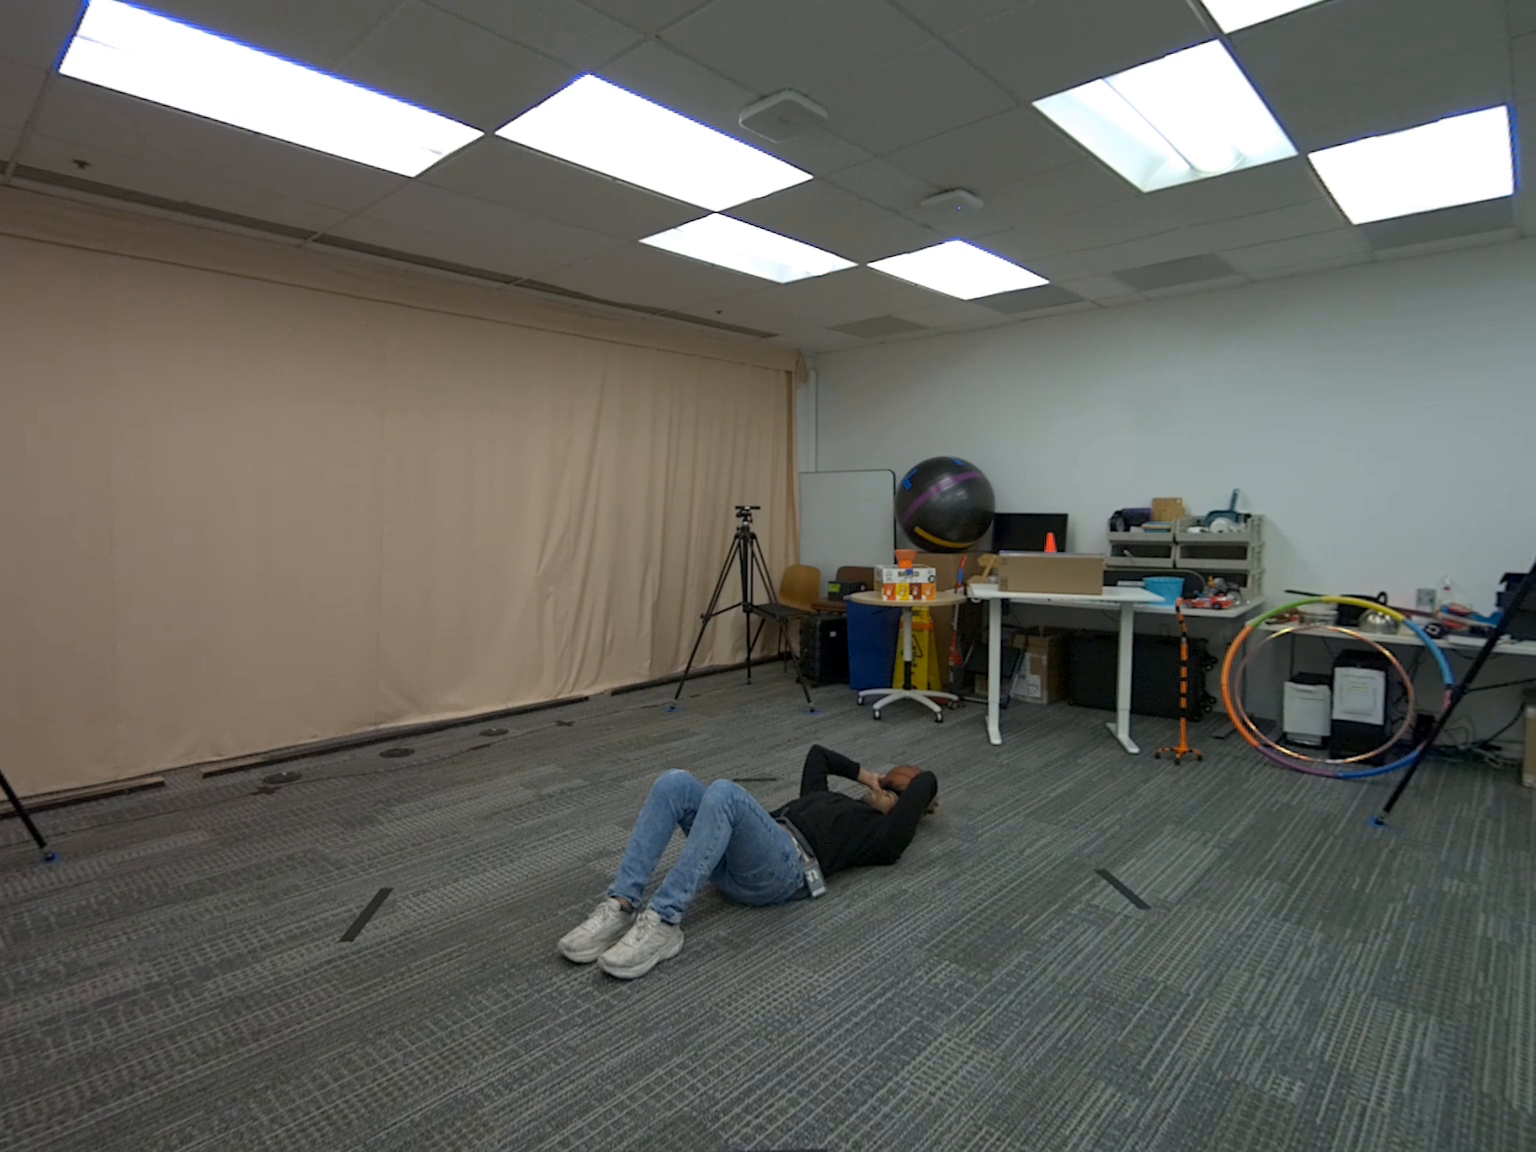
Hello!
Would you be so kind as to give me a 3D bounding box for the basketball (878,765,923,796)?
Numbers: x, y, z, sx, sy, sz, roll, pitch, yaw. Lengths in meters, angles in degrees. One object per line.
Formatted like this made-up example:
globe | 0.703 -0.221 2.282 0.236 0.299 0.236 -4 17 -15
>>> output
basketball | 0.617 0.943 3.718 0.236 0.235 0.237 0 4 -2
